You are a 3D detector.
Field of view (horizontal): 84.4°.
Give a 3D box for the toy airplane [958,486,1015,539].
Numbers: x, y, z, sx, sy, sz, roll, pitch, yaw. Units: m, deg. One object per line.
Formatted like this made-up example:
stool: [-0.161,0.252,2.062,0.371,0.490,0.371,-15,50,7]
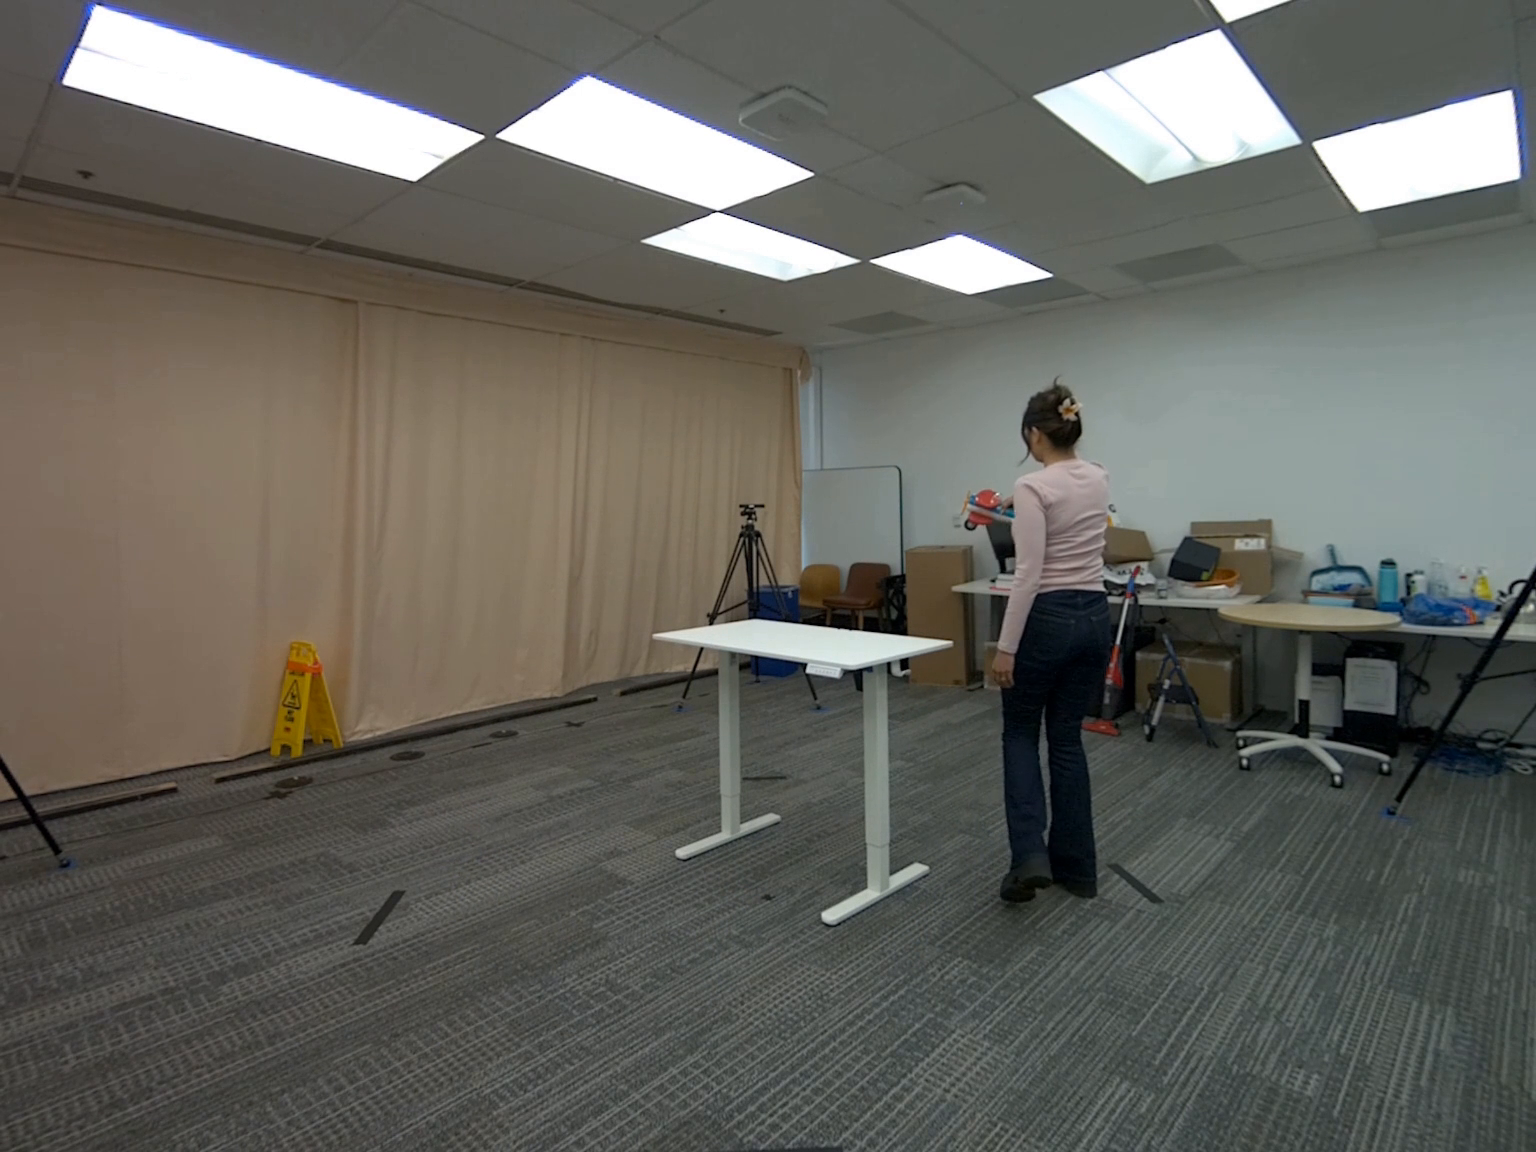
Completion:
toy airplane: [0.975,-0.274,3.584,0.259,0.155,0.254,-1,18,-1]
